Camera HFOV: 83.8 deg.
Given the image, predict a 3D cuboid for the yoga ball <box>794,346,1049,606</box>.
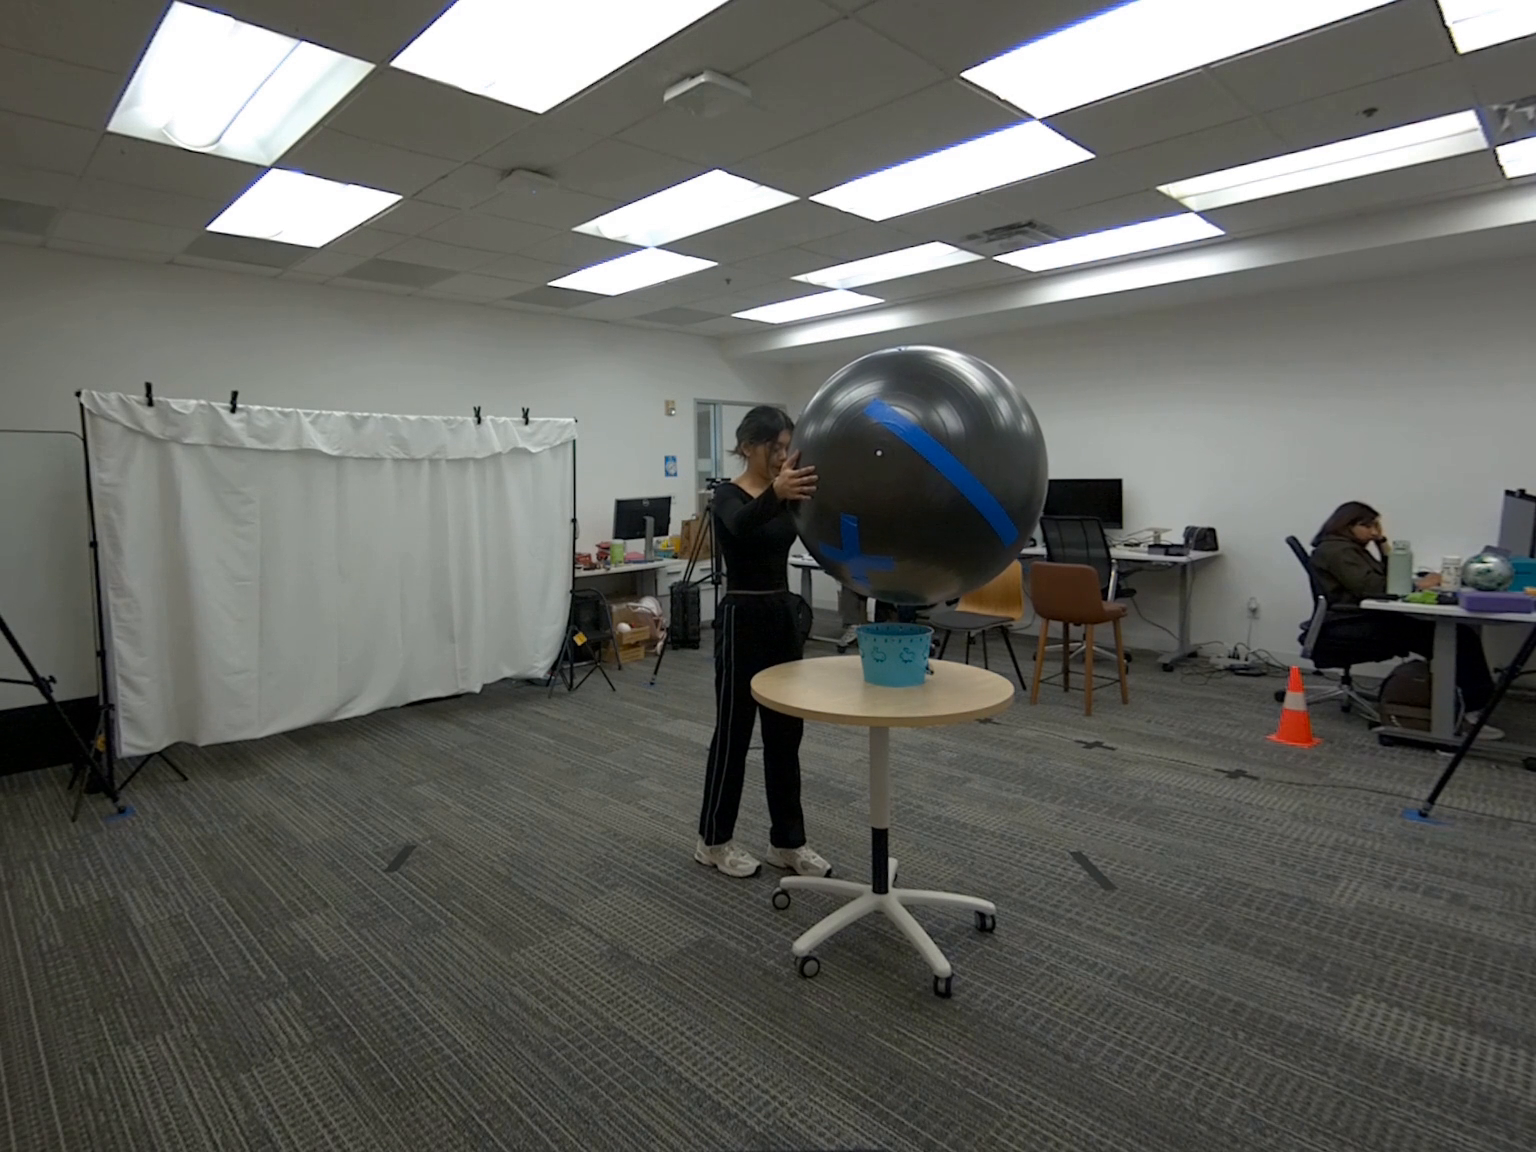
[{"bbox_3d":[0.436,-0.288,2.515,0.757,0.755,0.762,-1,5,-2],"label":"yoga ball"}]
